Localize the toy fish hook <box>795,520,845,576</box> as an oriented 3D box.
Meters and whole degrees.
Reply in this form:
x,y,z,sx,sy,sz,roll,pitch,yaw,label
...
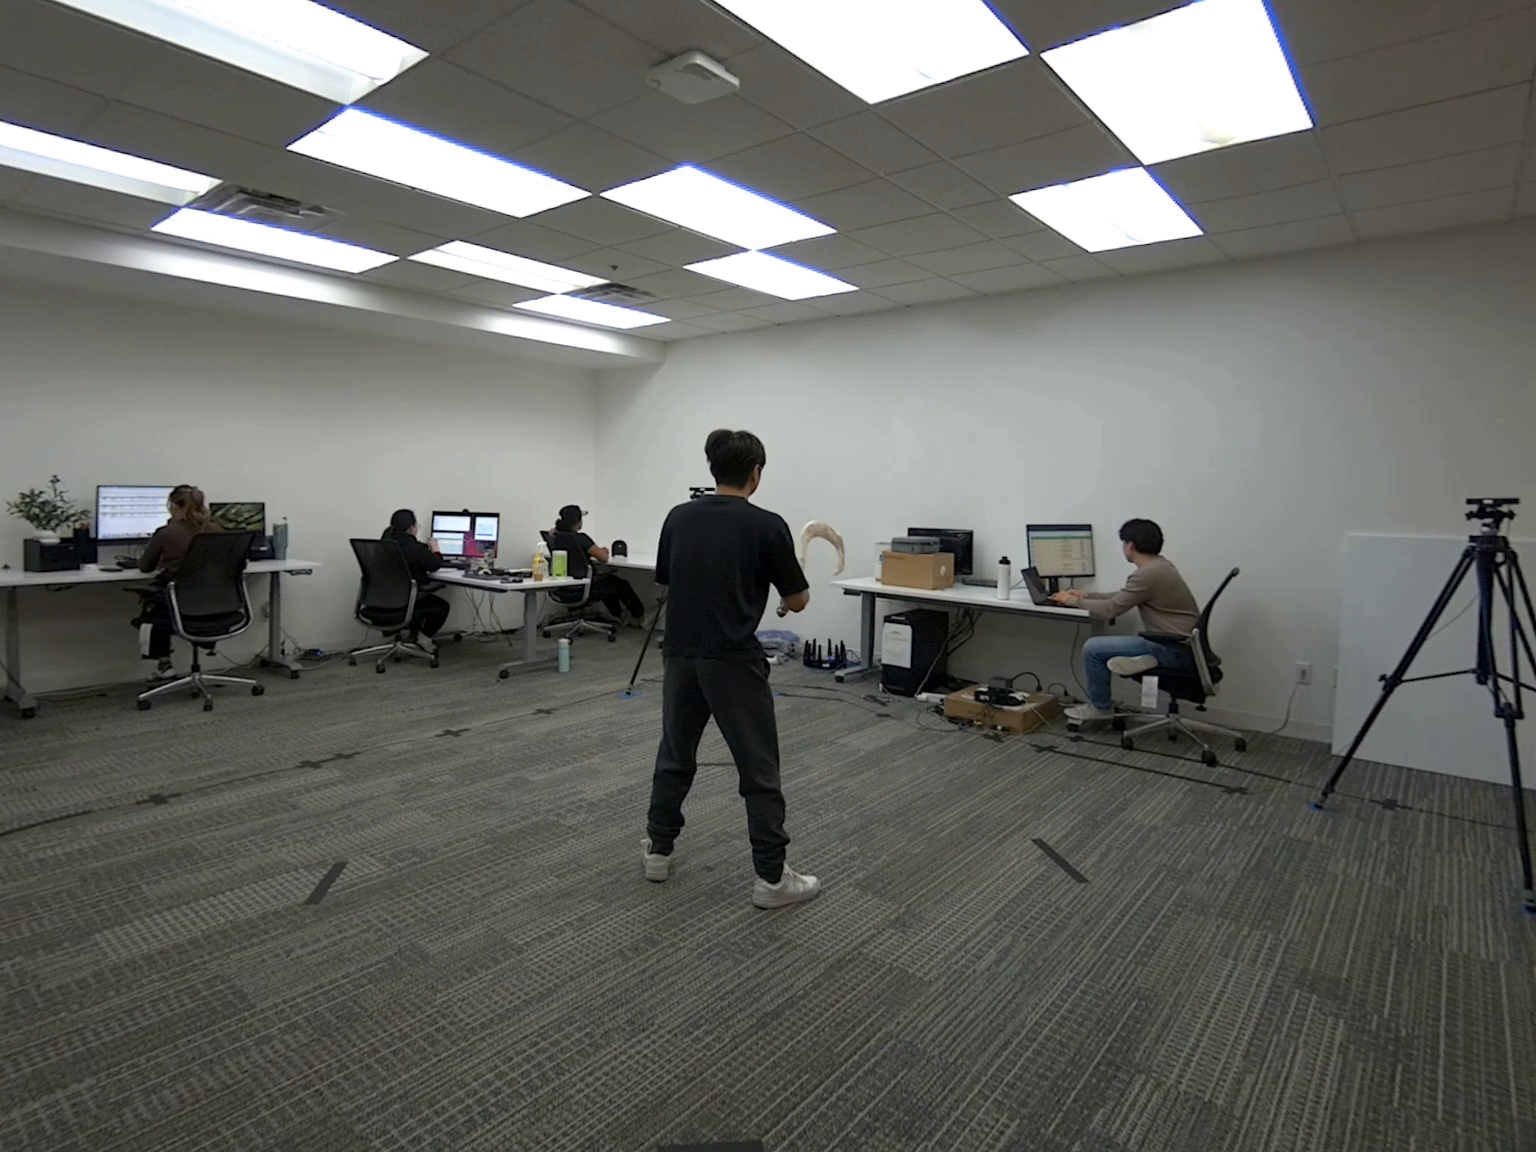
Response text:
x,y,z,sx,sy,sz,roll,pitch,yaw,label
0.165,0.021,3.321,0.222,0.512,0.048,32,-36,-9,toy fish hook
